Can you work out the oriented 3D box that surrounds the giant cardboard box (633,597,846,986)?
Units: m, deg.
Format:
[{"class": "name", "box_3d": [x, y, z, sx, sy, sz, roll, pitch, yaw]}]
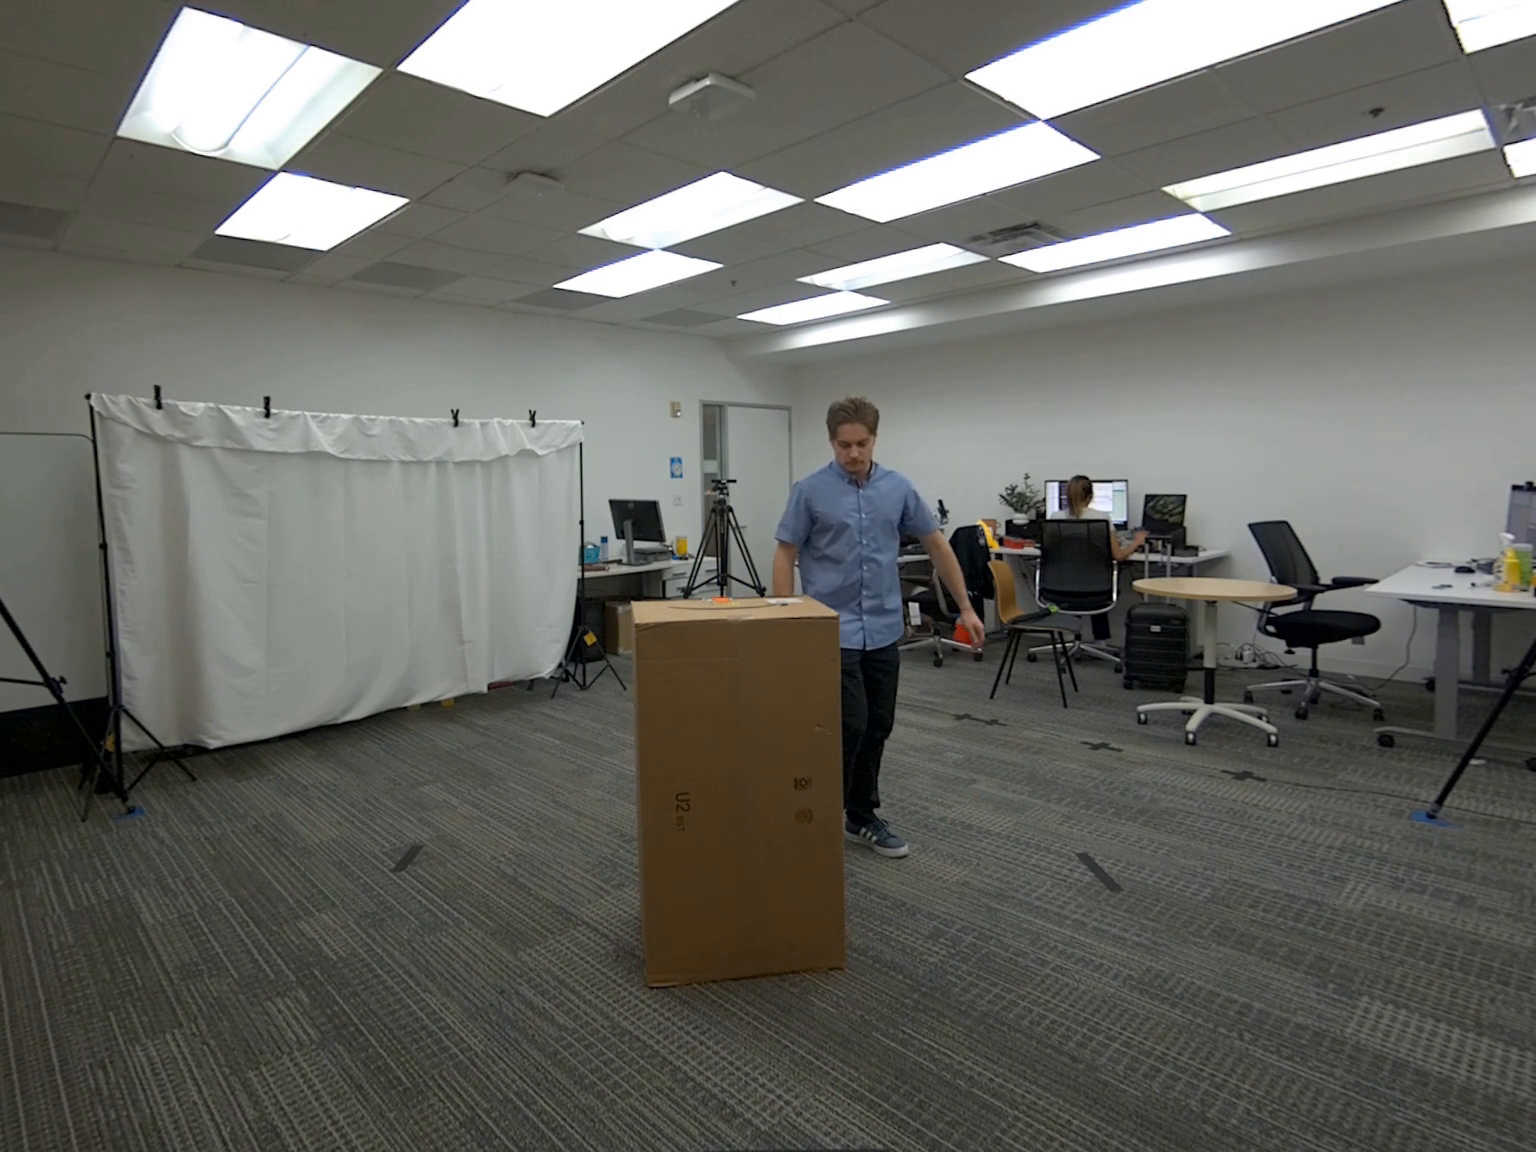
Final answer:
[{"class": "giant cardboard box", "box_3d": [-0.112, 0.599, 2.574, 0.580, 1.024, 0.451, -2, 4, -7]}]
